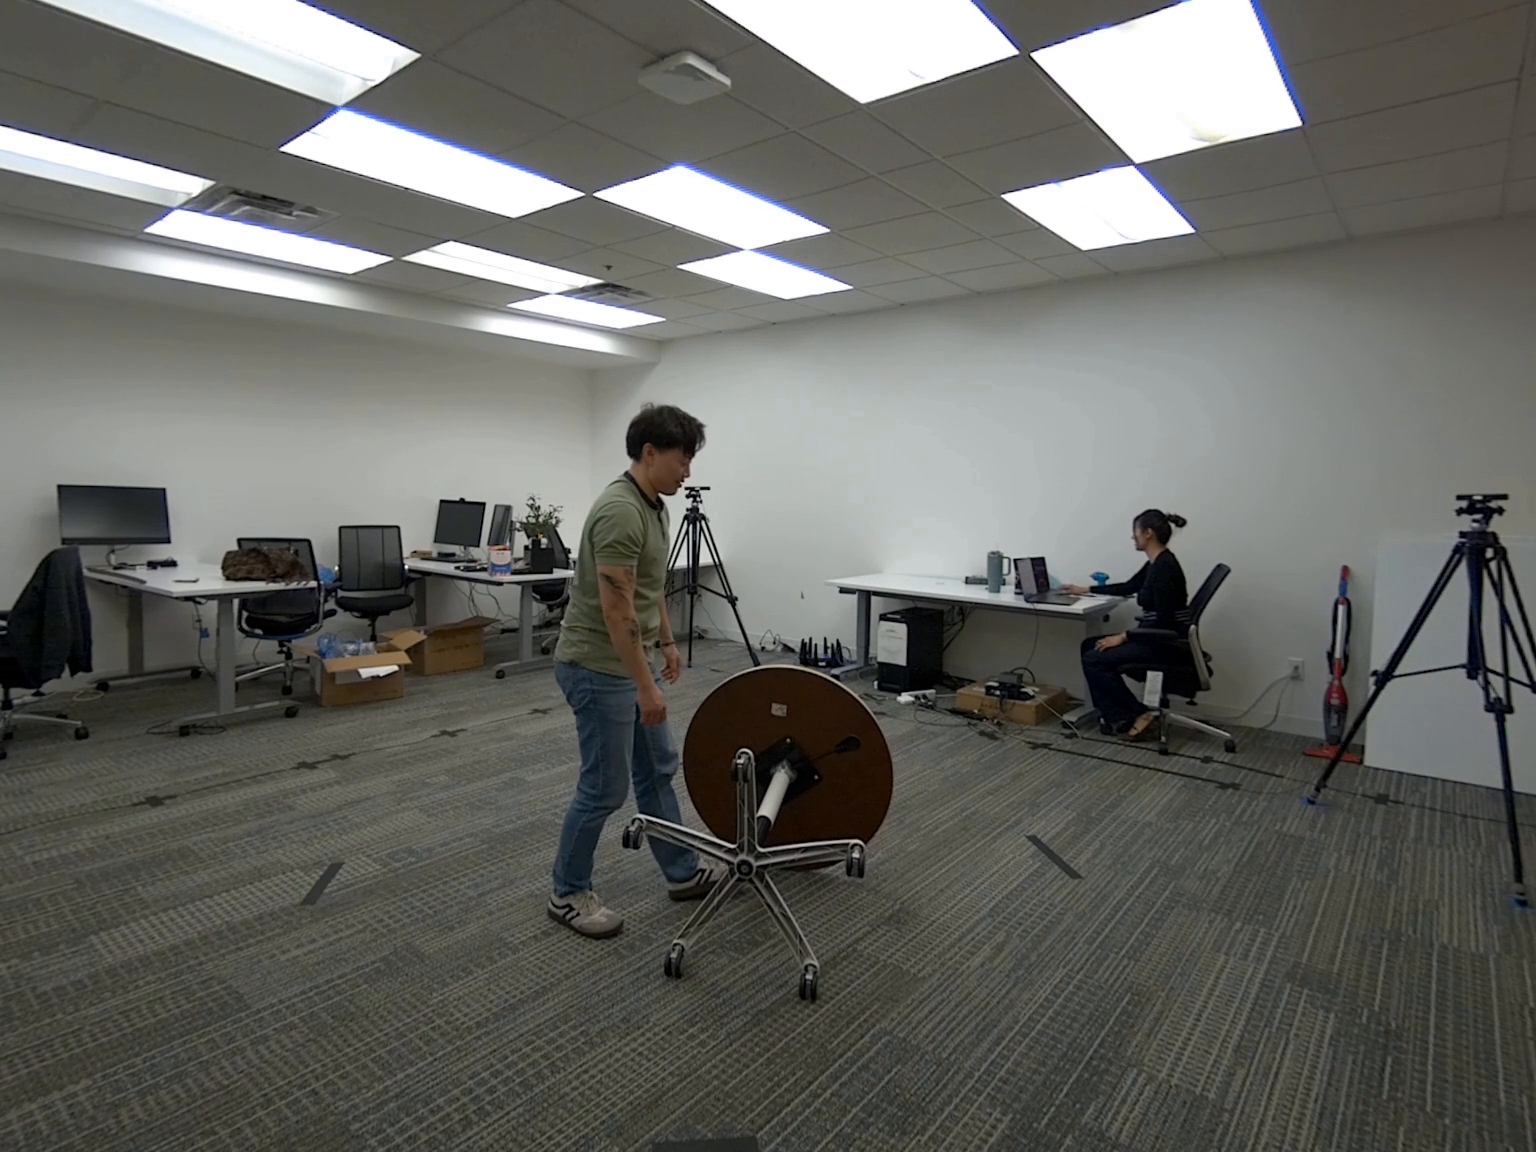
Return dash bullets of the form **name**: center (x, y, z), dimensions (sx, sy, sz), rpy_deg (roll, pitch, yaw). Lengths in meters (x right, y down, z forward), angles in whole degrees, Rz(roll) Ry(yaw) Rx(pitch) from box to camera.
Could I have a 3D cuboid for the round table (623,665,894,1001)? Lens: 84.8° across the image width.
- **round table**: center (-0.008, 0.766, 2.691), dimensions (0.774, 0.758, 0.790), rpy_deg (2, 9, 11)
